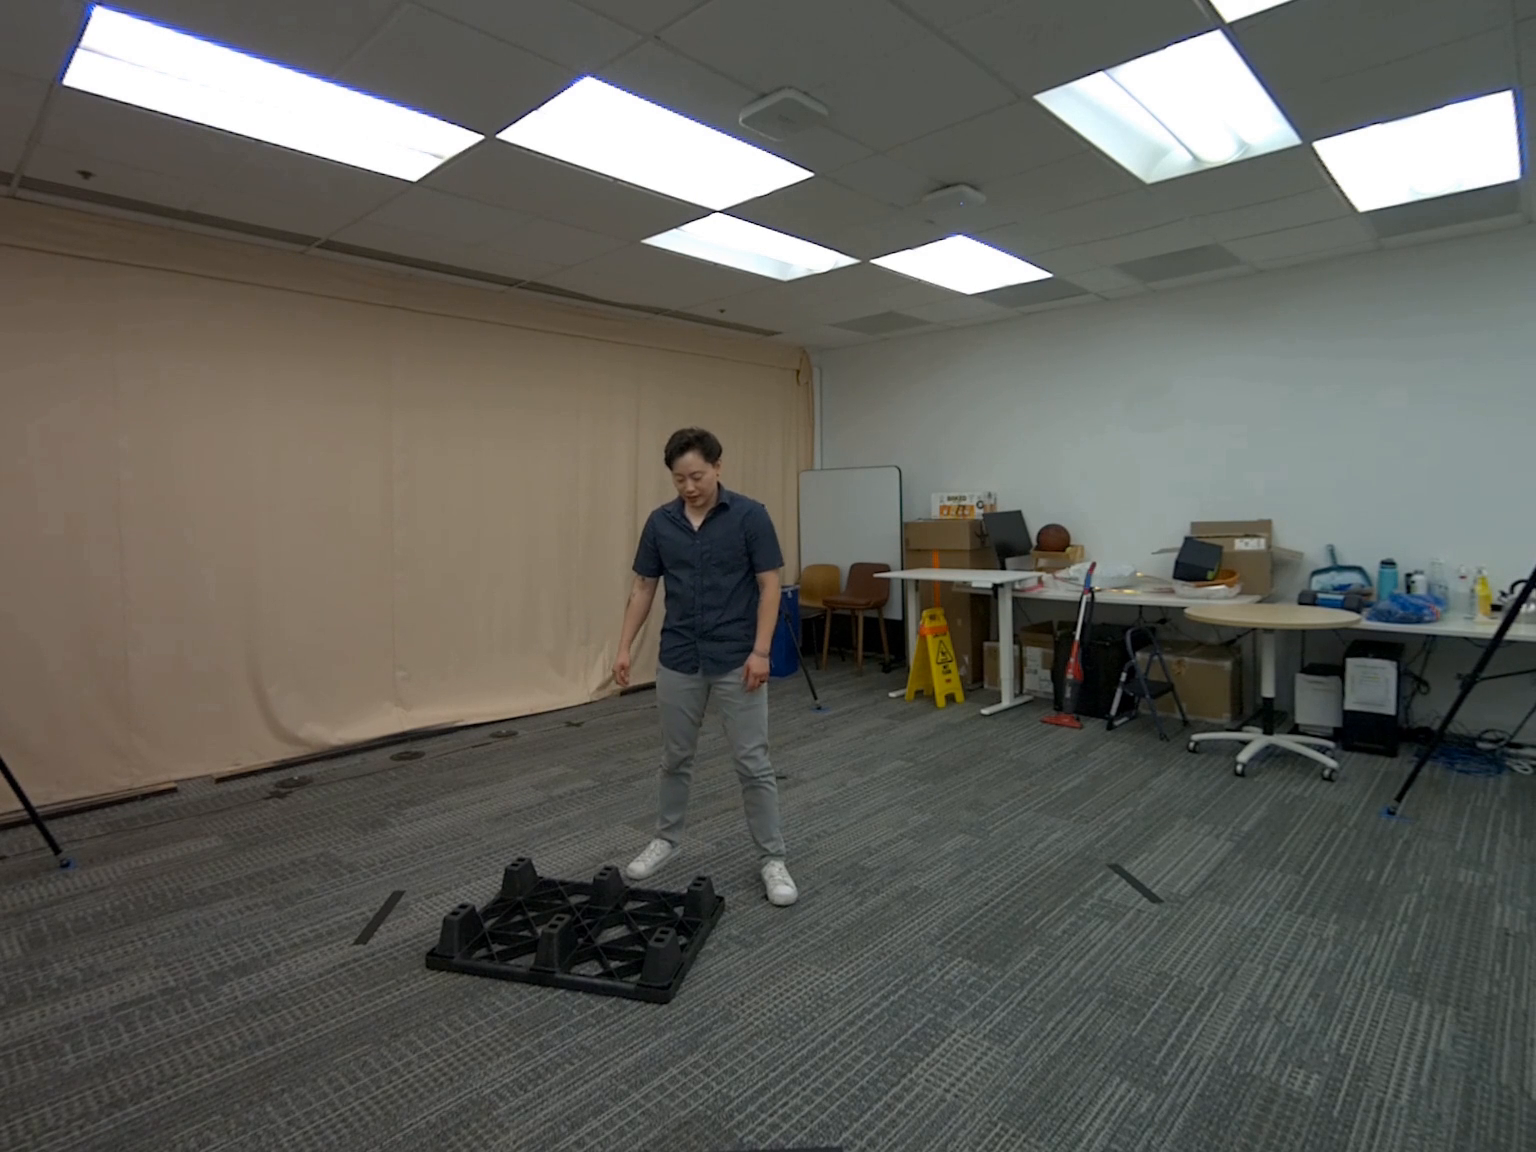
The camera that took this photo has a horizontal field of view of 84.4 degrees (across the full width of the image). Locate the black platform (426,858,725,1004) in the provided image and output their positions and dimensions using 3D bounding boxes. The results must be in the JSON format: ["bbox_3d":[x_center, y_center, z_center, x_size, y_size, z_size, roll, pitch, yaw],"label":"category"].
[{"bbox_3d":[-0.603,1.111,2.732,0.819,0.143,0.597,0,4,15],"label":"black platform"}]
